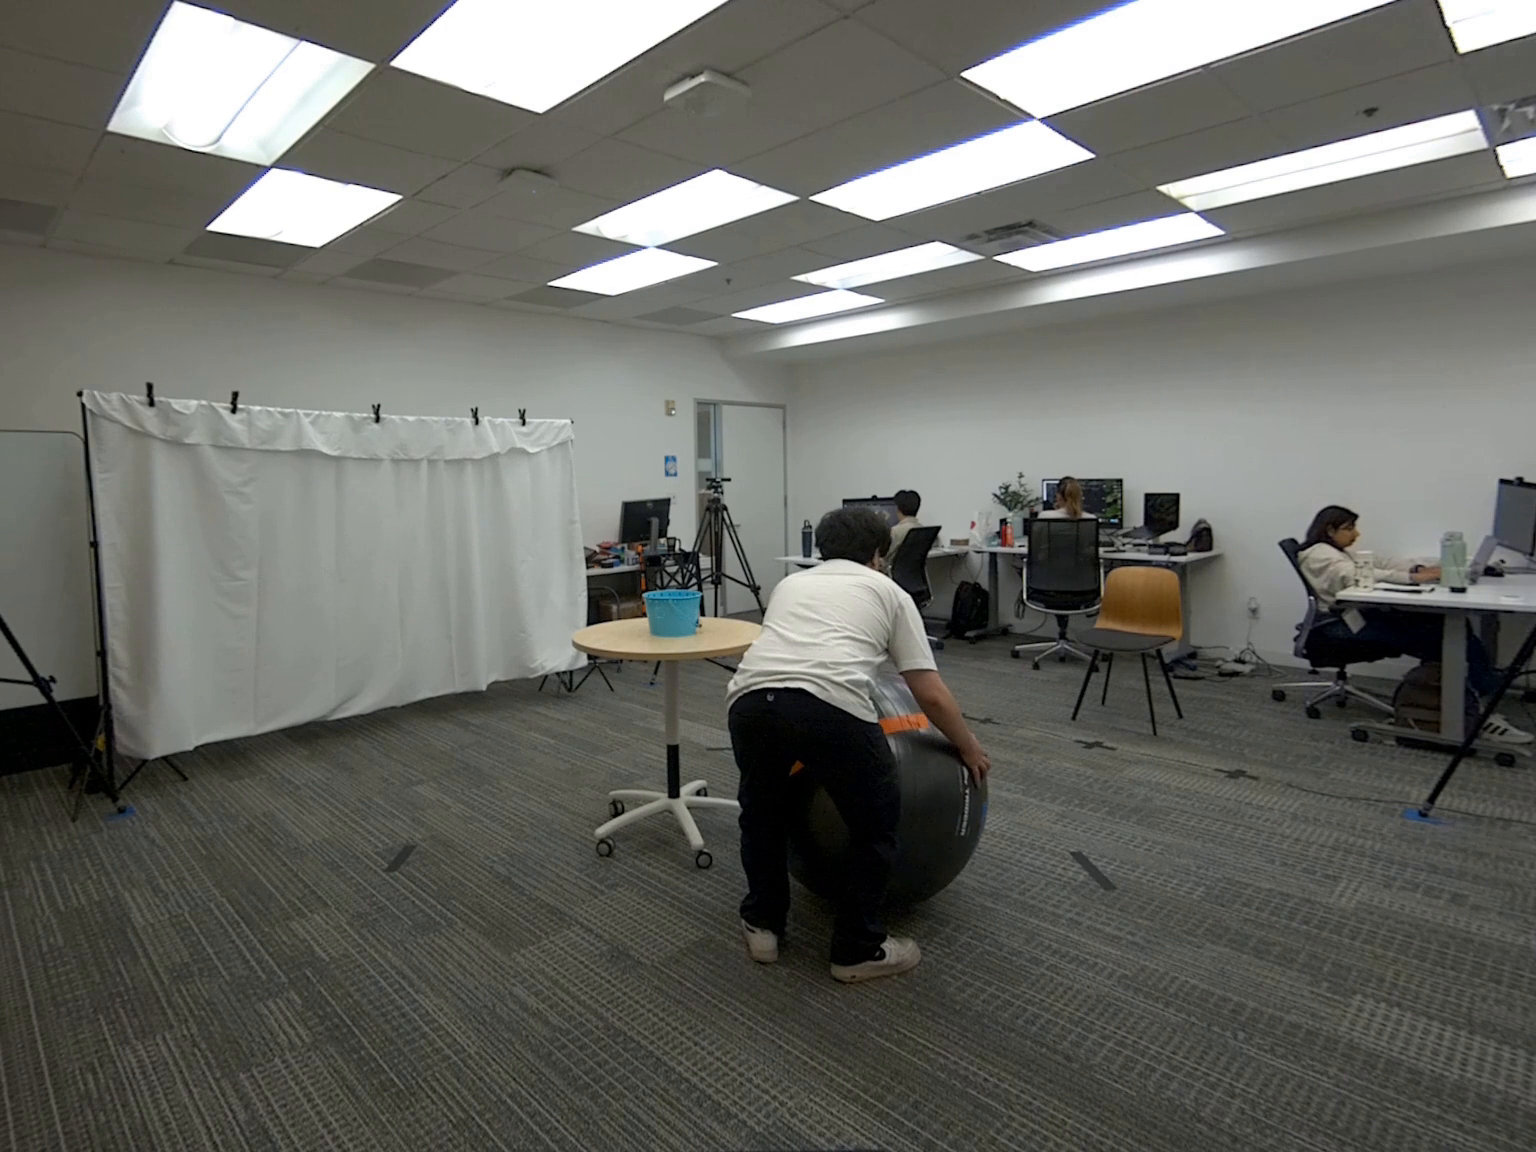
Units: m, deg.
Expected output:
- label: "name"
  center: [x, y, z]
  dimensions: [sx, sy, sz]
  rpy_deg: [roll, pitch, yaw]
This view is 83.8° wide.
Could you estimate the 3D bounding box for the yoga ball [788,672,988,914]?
- label: "yoga ball"
  center: [0.342, 0.705, 2.829]
  dimensions: [0.757, 0.755, 0.762]
  rpy_deg: [-1, 5, -2]
